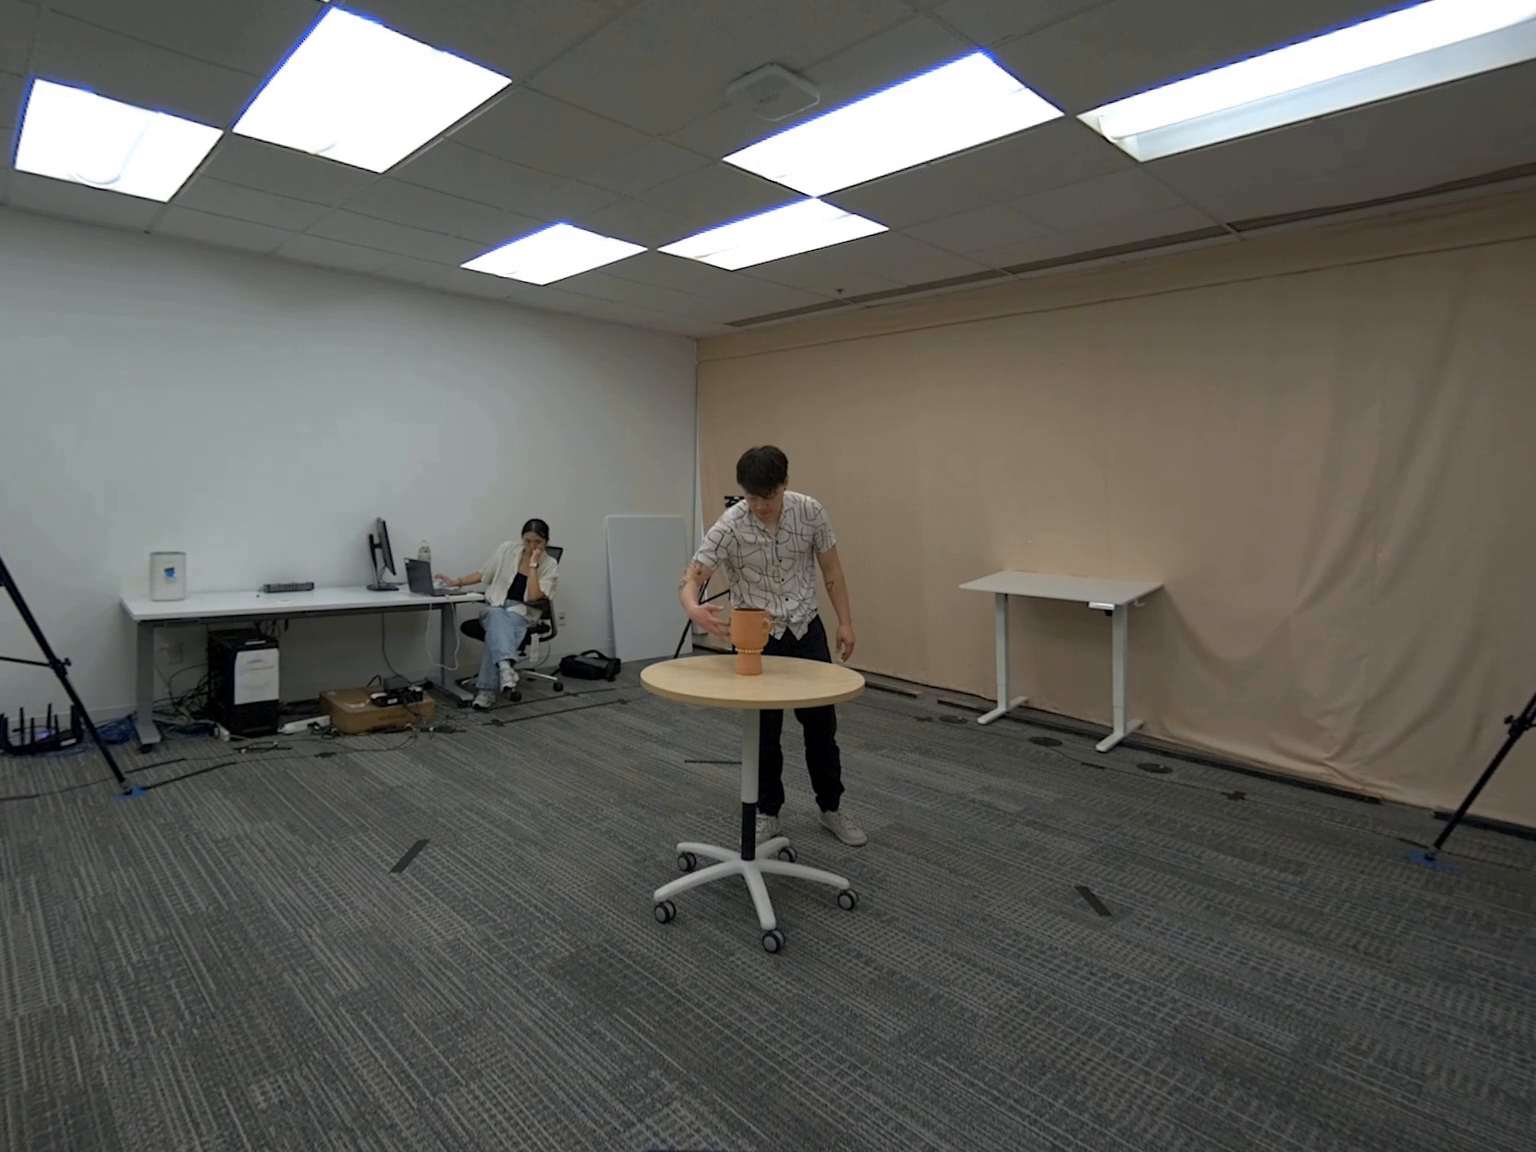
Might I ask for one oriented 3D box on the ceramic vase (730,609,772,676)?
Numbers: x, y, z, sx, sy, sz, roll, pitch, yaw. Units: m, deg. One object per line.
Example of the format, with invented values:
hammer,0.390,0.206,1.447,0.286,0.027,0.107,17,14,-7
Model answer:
ceramic vase,-0.079,0.230,2.921,0.133,0.219,0.160,0,3,-10
